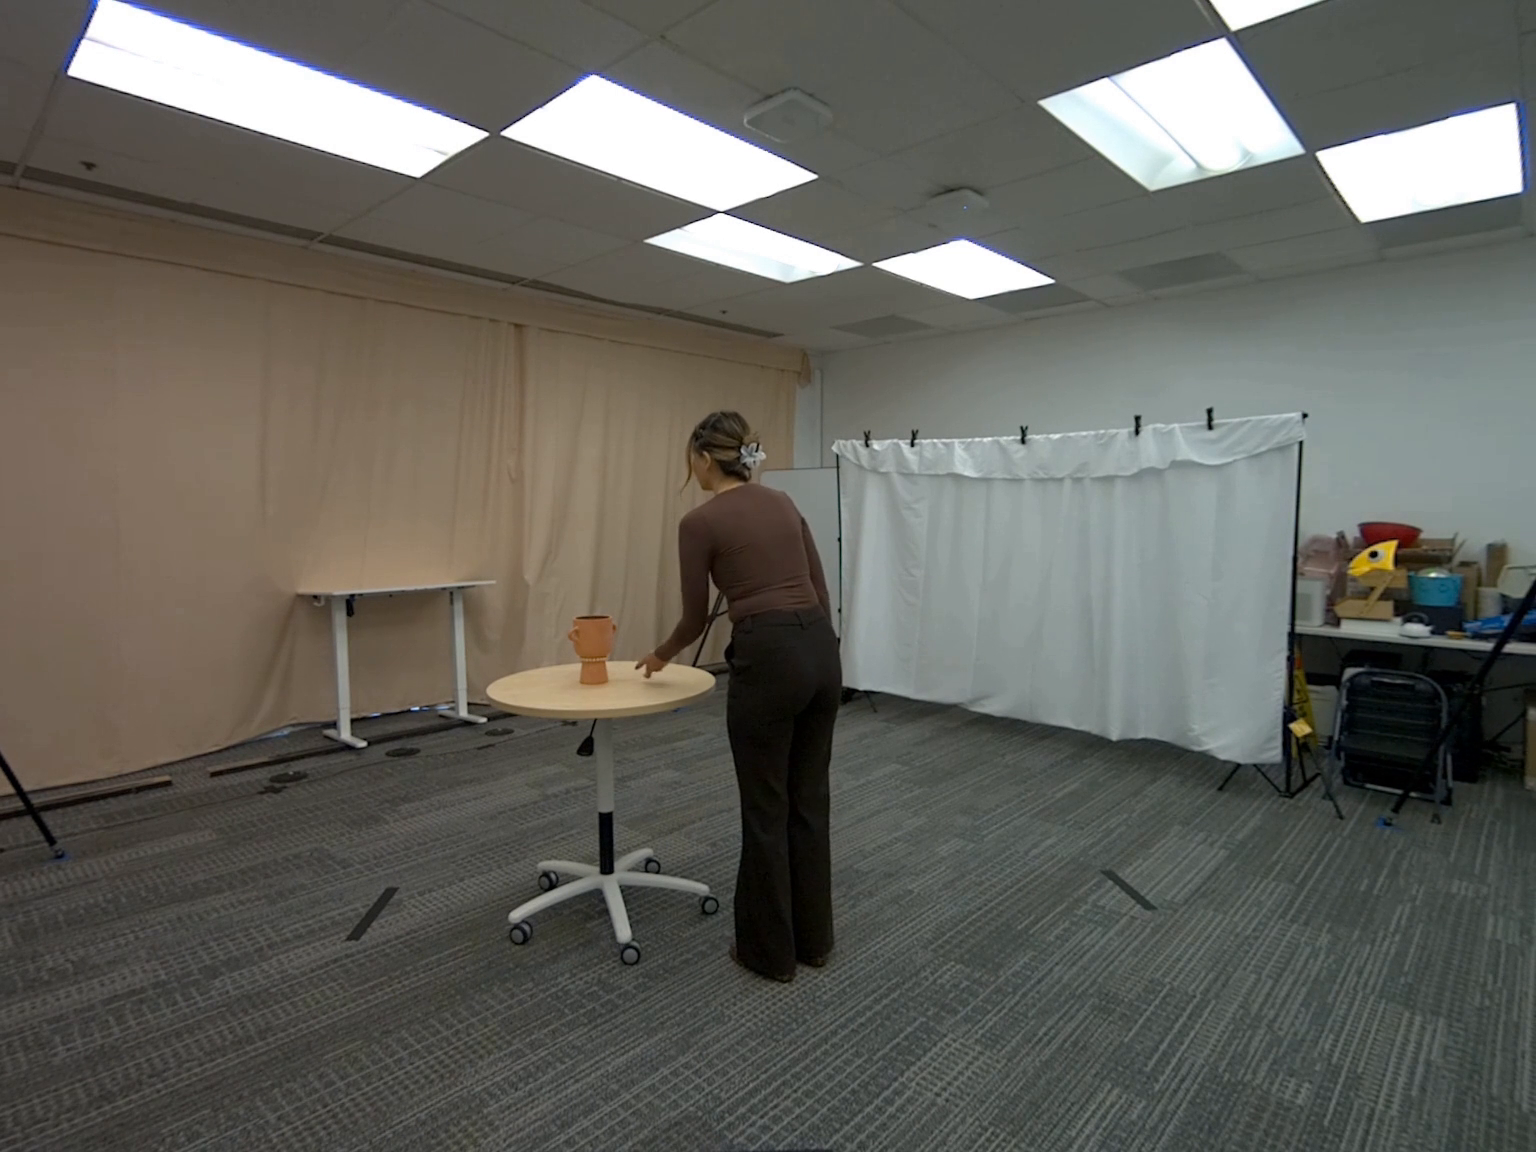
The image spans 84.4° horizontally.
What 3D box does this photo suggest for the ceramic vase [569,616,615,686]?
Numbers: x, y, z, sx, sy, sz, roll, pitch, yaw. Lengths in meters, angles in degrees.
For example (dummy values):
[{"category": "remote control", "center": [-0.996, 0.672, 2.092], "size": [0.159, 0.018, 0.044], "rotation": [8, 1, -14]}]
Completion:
[{"category": "ceramic vase", "center": [-0.596, 0.256, 2.851], "size": [0.157, 0.219, 0.136], "rotation": [-4, 4, -9]}]
